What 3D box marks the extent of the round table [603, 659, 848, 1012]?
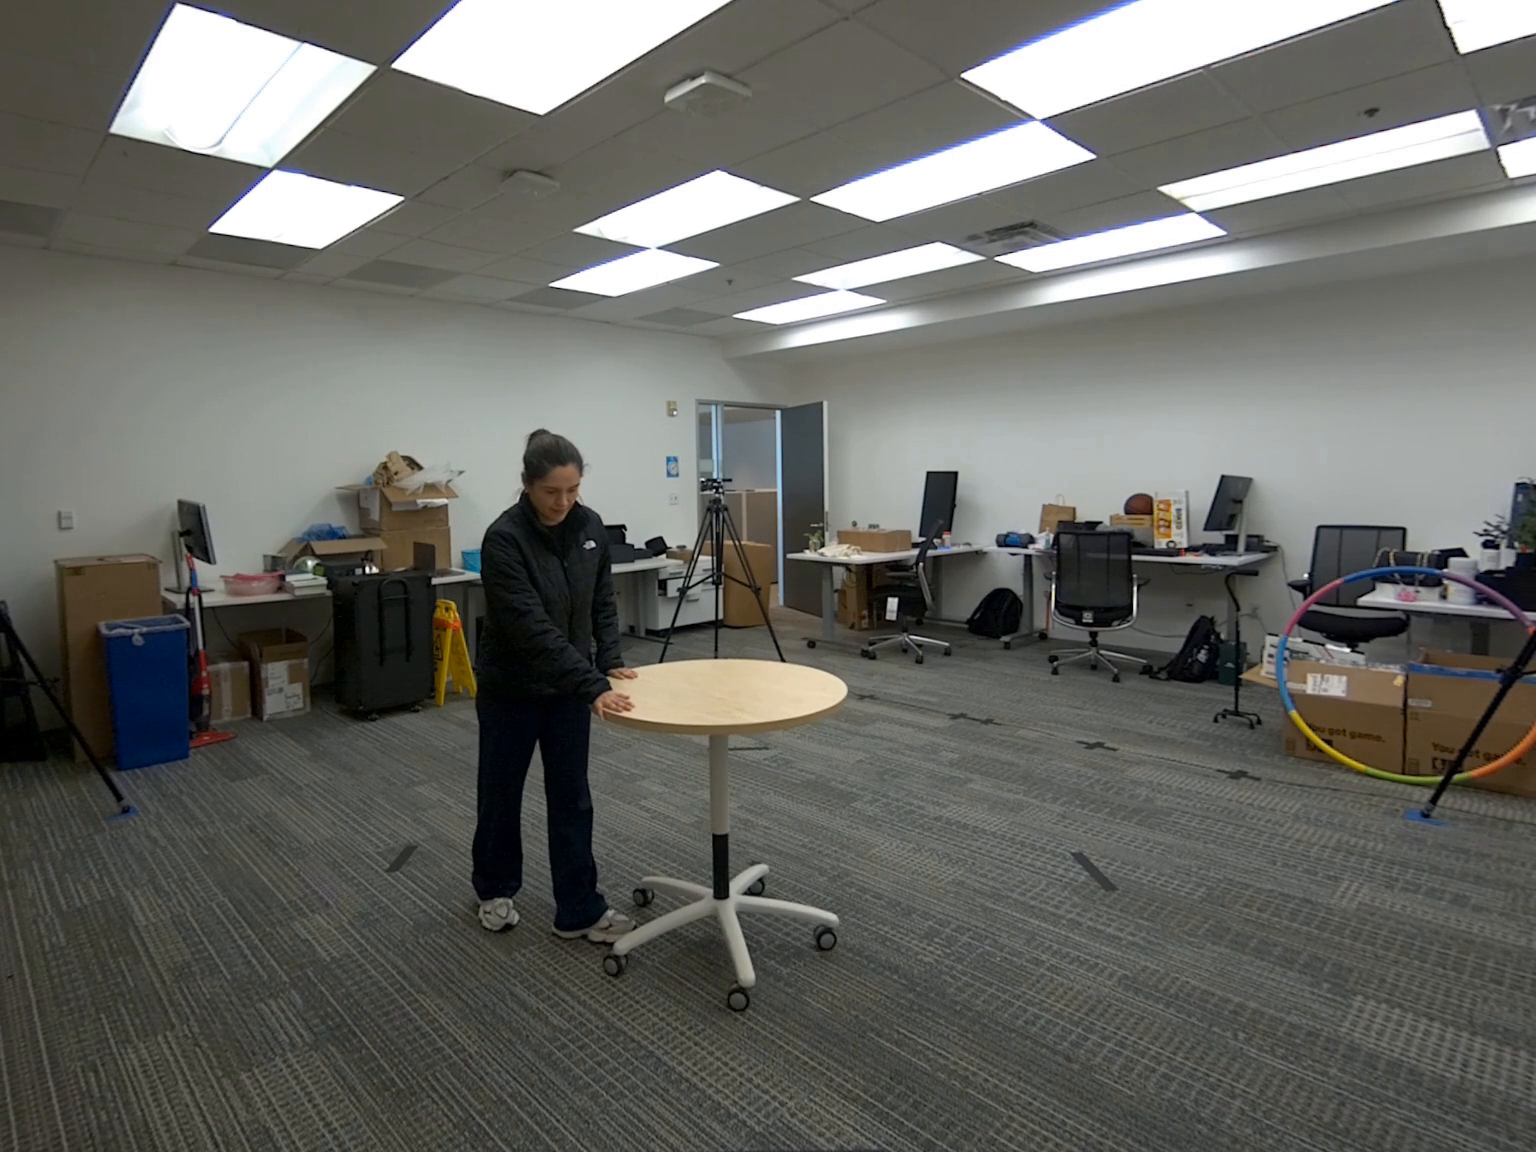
[{"bbox_3d":[-0.154,0.713,2.564,0.784,0.783,0.789,-1,5,-2],"label":"round table"}]
